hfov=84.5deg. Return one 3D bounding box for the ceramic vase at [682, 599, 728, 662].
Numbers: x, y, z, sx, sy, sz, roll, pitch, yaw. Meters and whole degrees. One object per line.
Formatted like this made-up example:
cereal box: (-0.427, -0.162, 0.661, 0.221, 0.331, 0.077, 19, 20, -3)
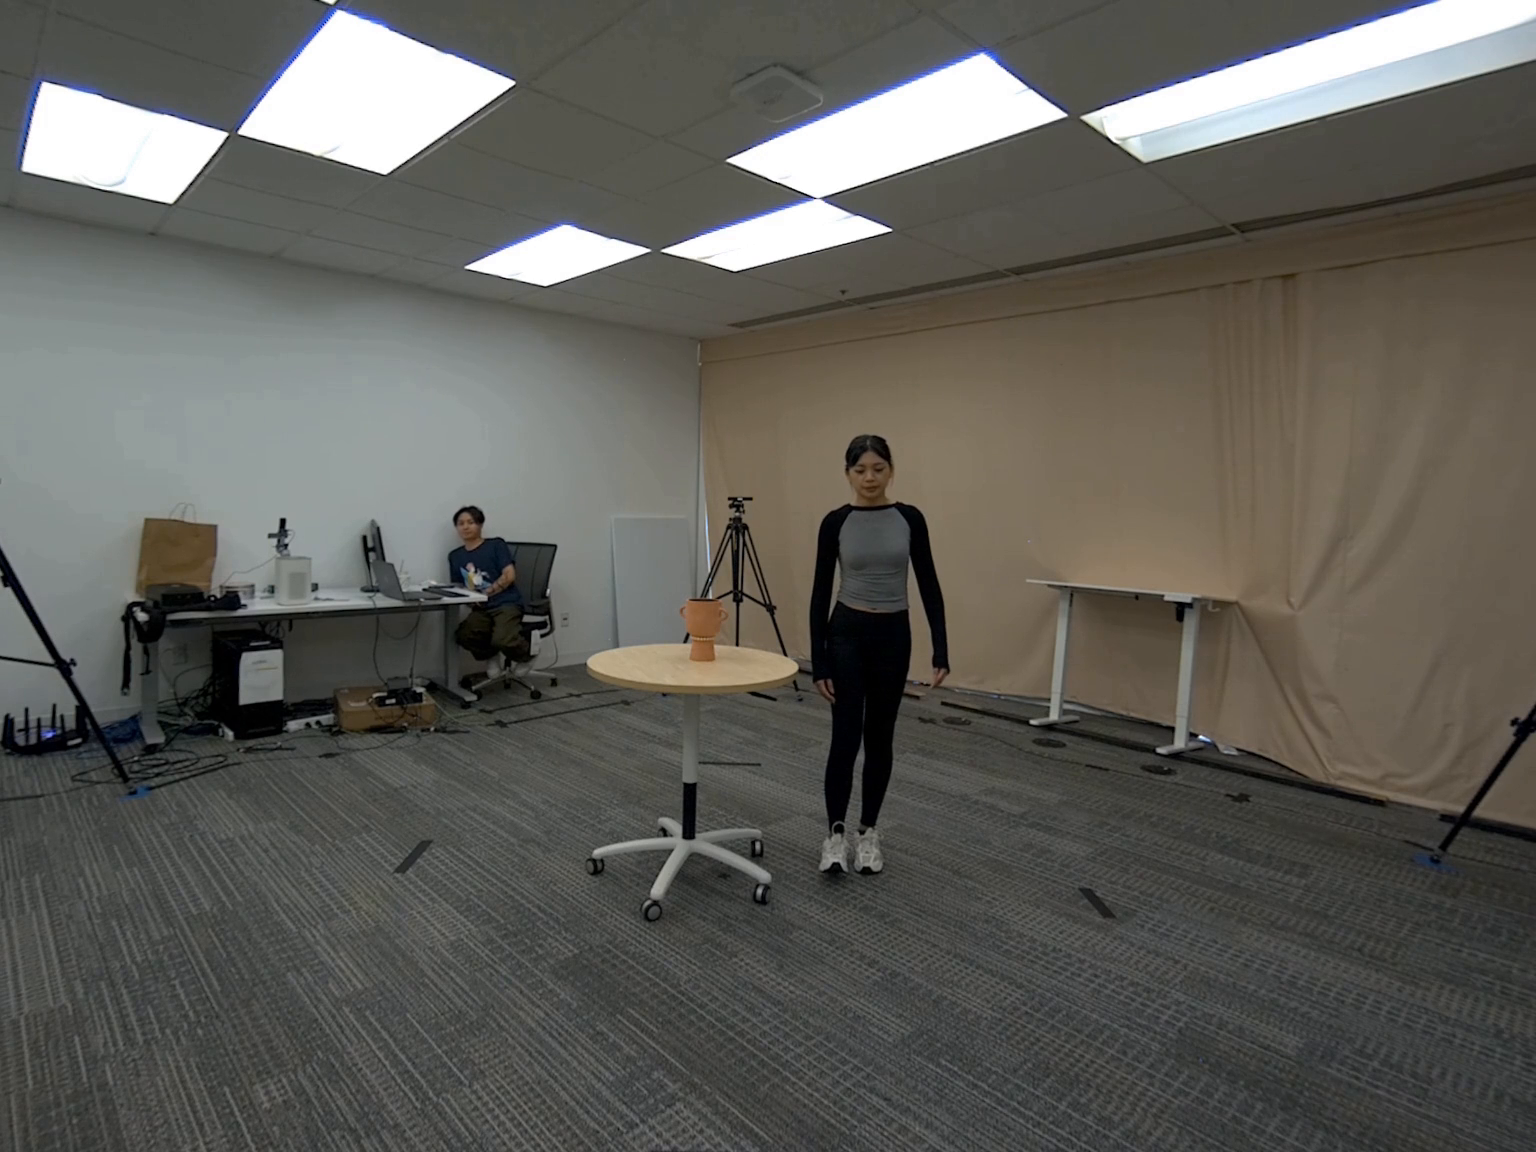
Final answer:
ceramic vase: (-0.248, 0.201, 3.127, 0.132, 0.219, 0.162, 0, 3, -29)
